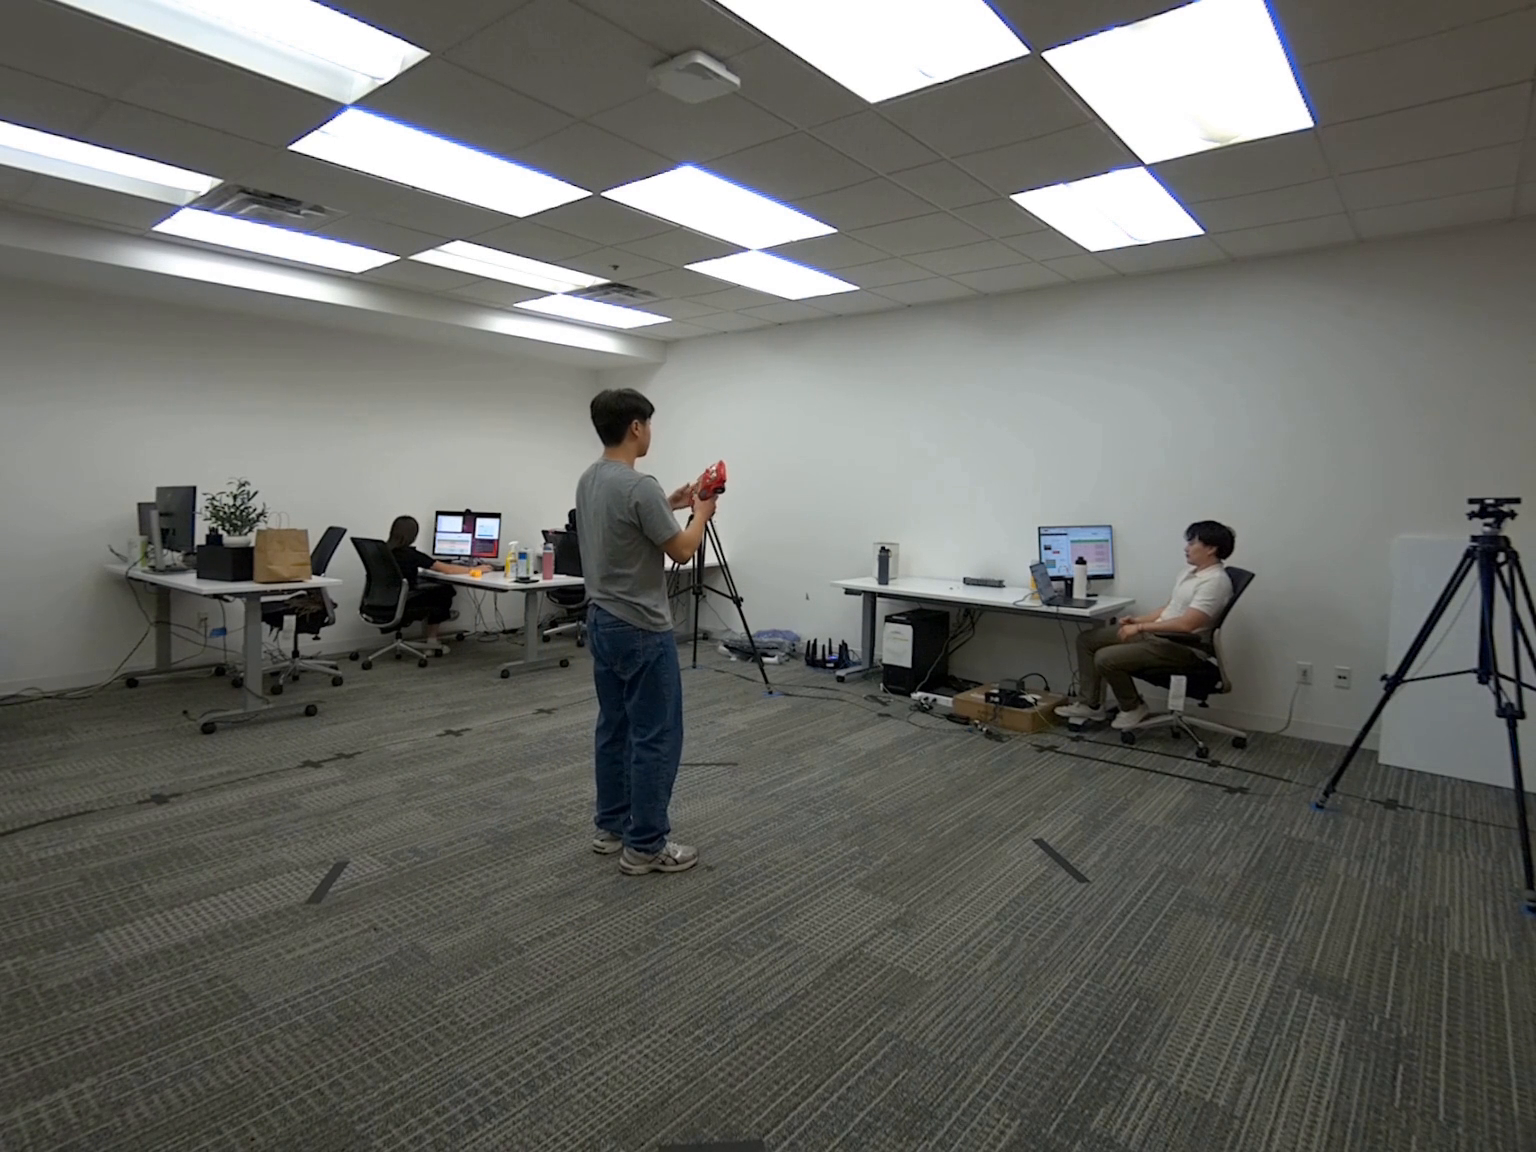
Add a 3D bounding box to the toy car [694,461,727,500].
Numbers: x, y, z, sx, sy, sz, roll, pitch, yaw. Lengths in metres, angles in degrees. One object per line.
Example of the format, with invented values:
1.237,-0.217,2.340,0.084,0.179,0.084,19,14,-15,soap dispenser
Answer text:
-0.248,-0.355,3.341,0.081,0.134,0.253,9,-33,-23,toy car
